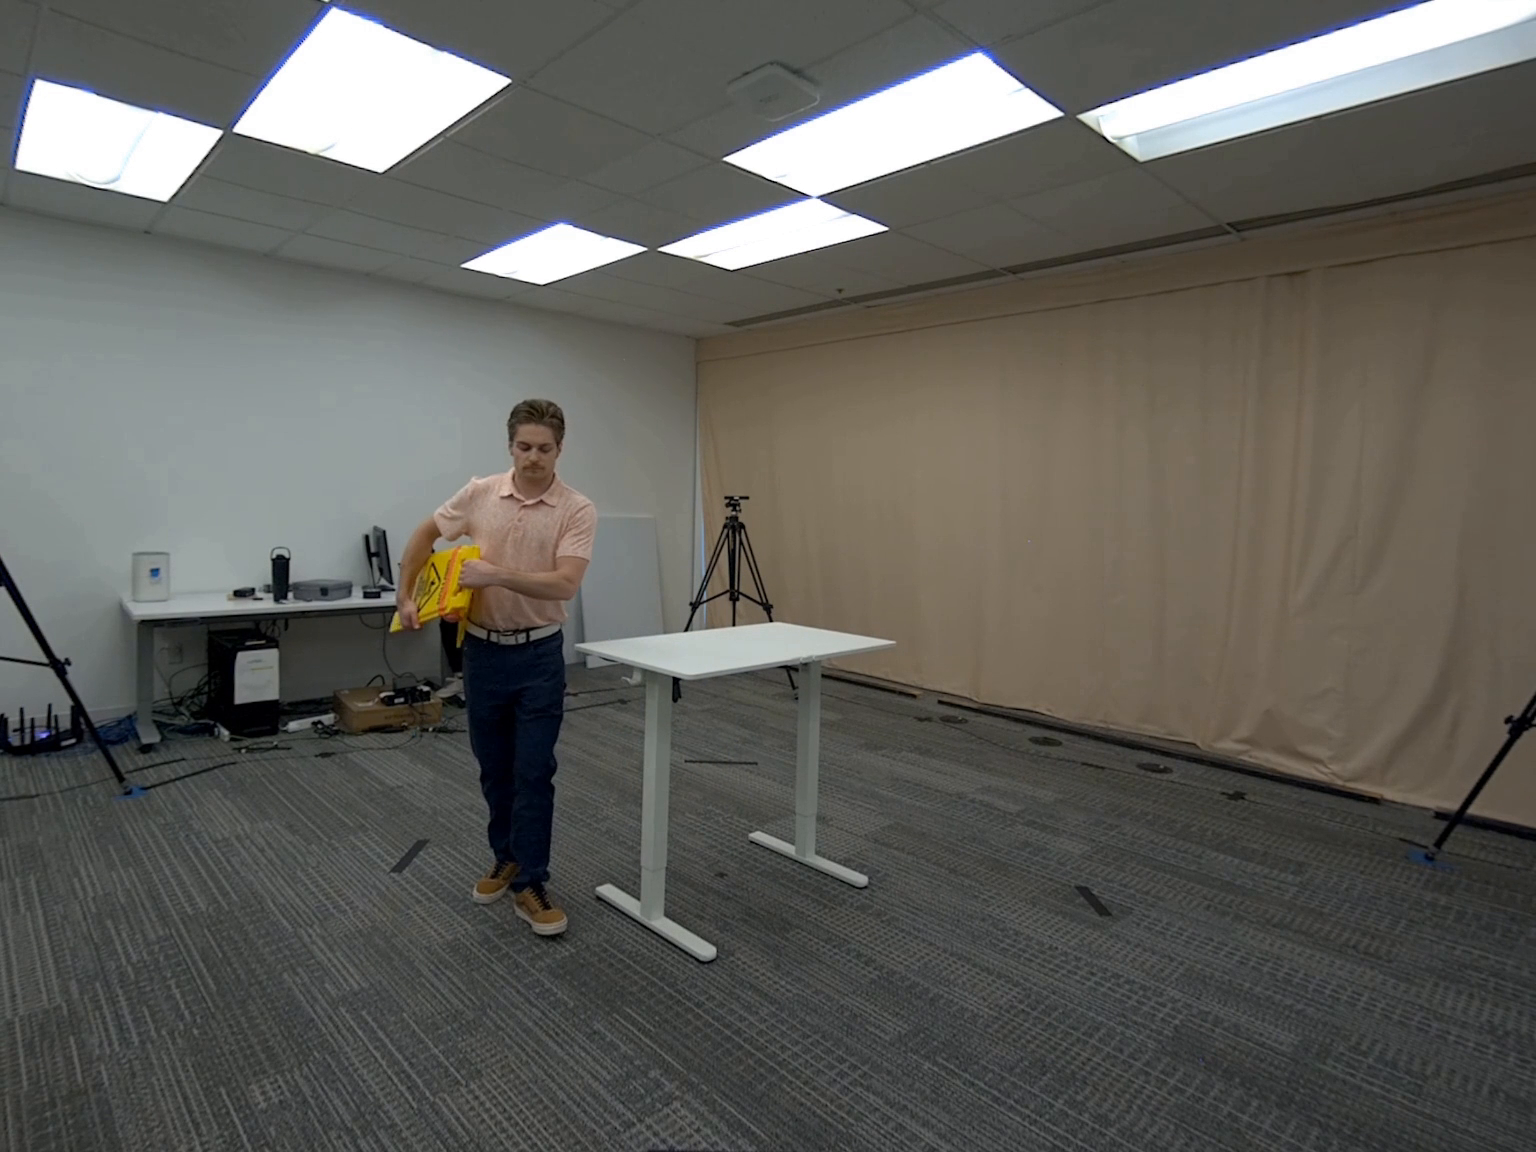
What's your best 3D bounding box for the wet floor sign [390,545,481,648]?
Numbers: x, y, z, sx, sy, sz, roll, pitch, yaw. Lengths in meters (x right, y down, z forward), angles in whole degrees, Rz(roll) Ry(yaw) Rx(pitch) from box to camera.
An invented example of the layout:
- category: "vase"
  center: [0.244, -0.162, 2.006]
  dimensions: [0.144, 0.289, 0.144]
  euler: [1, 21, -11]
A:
- category: "wet floor sign"
  center: [-1.070, 0.058, 2.839]
  dimensions: [0.284, 0.285, 0.653]
  euler: [17, -18, -24]
